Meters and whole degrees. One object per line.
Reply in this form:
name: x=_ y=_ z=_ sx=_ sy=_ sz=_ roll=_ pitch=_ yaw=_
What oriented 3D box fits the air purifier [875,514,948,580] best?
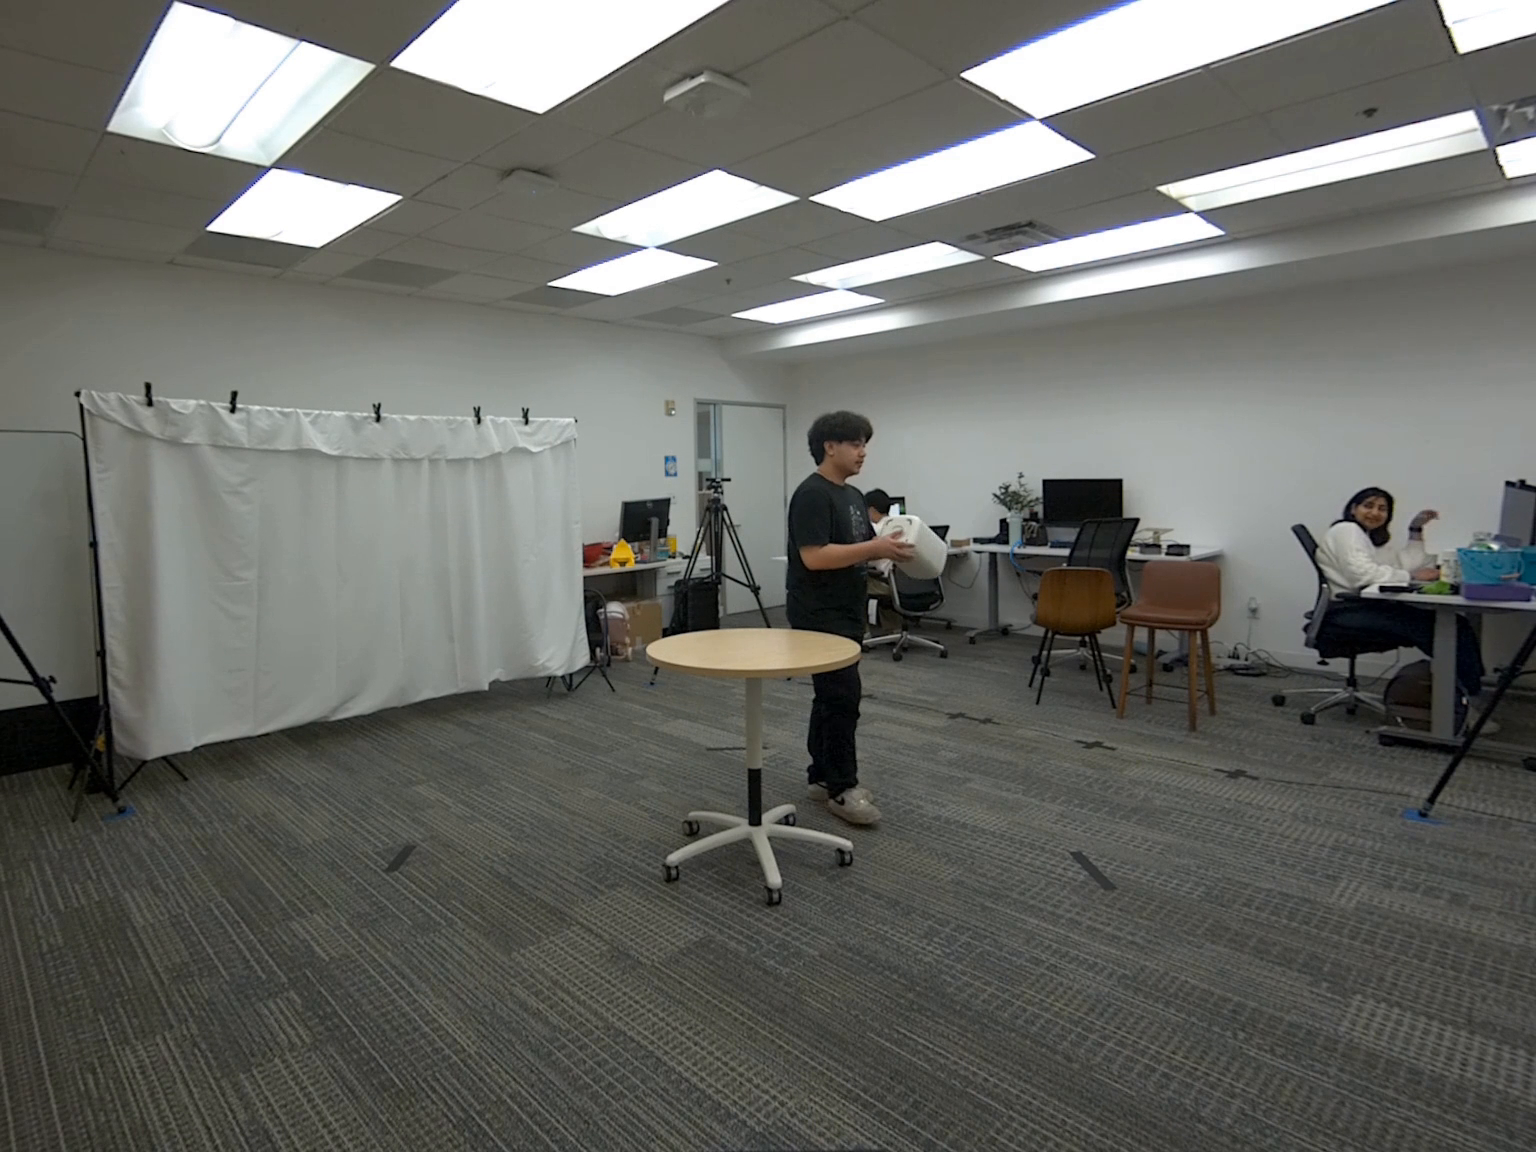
air purifier: x=0.578 y=-0.119 z=3.433 sx=0.176 sy=0.173 sz=0.255 roll=0 pitch=-25 yaw=43
